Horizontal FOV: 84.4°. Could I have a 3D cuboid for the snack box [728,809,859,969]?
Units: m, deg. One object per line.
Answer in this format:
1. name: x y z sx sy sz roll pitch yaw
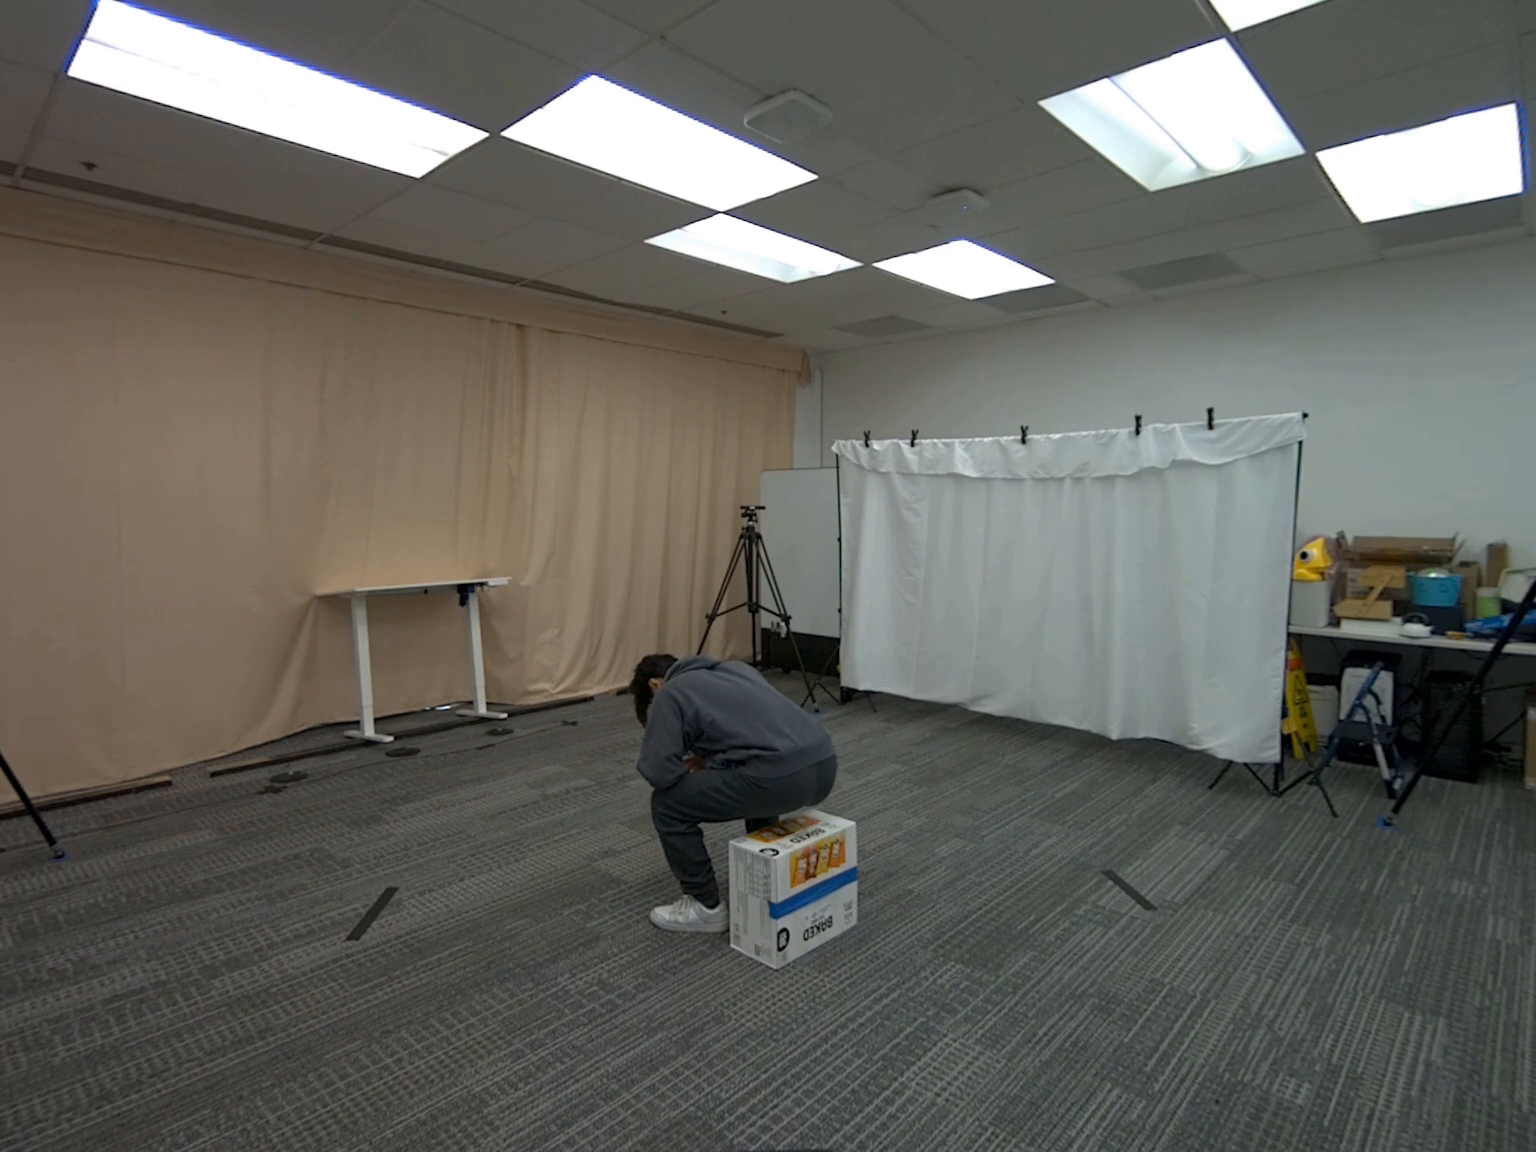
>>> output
1. snack box: 0.092 0.996 2.726 0.212 0.340 0.393 1 3 44
